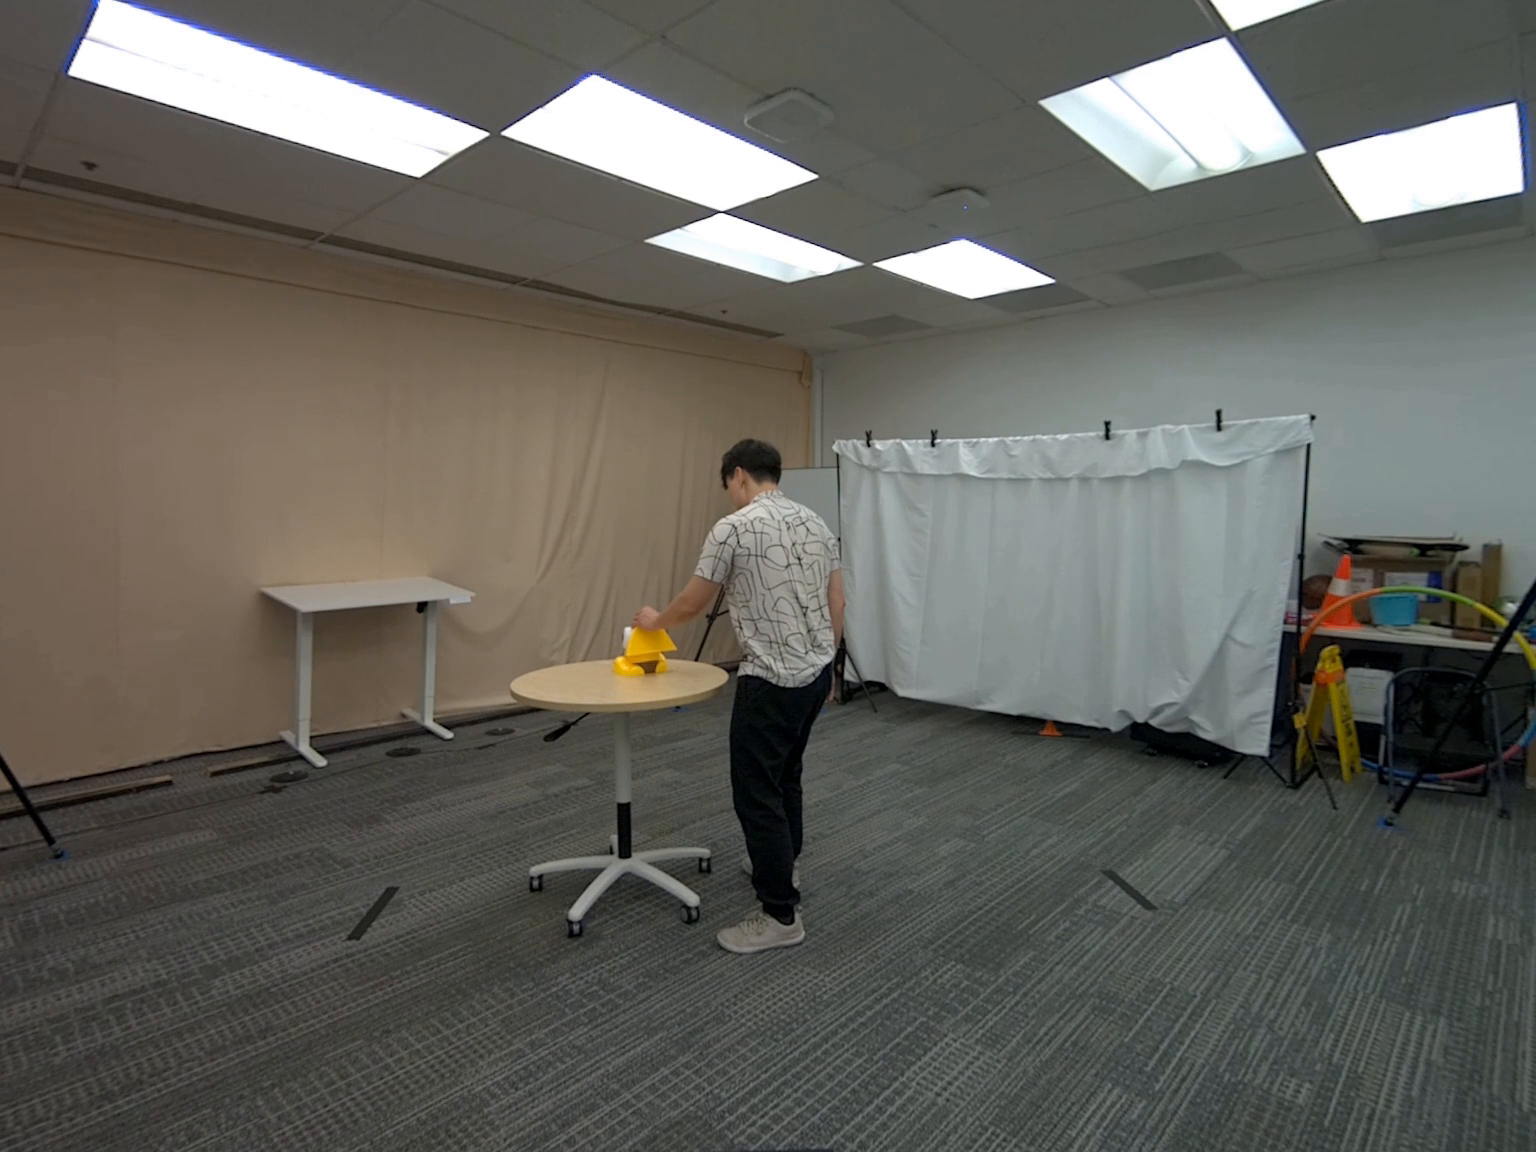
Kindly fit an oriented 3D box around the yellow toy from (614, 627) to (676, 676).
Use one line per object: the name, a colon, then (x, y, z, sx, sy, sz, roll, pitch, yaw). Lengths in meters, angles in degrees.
yellow toy: (-0.471, 0.239, 3.127, 0.199, 0.230, 0.199, -3, 4, -36)
